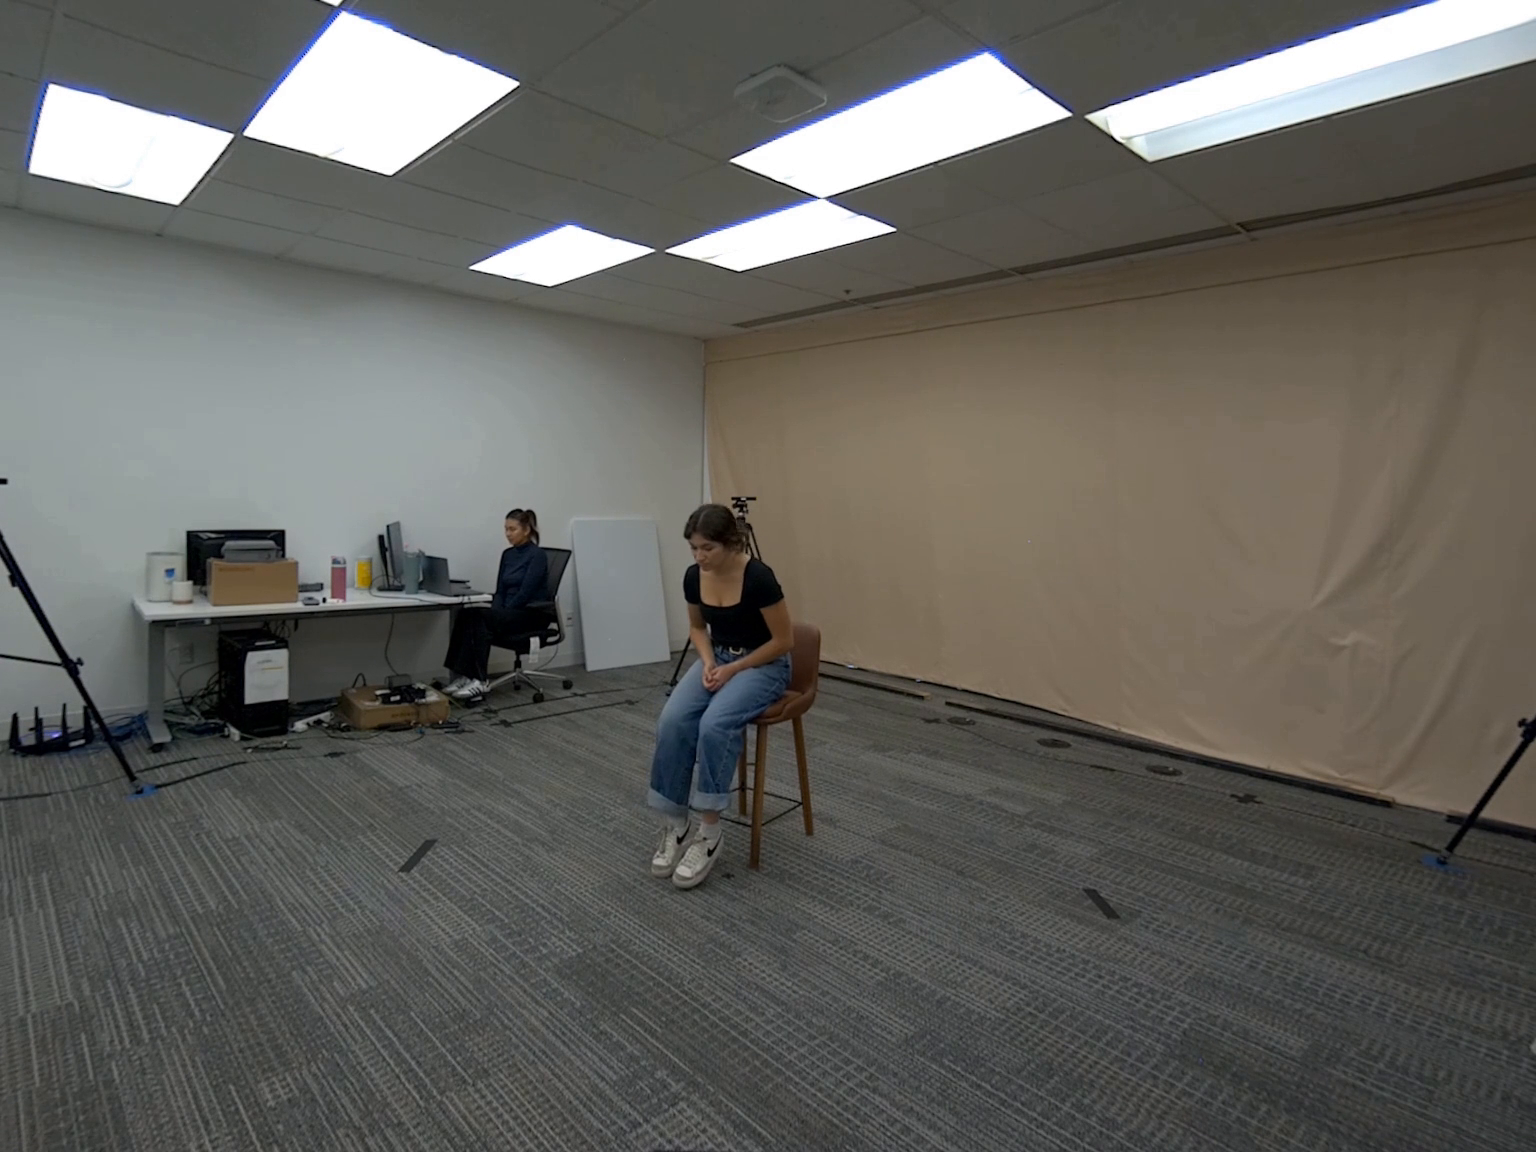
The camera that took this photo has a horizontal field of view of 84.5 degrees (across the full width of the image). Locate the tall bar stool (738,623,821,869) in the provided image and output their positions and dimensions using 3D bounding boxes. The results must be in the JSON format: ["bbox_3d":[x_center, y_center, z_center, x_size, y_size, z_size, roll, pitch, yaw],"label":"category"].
[{"bbox_3d":[-0.077,0.646,3.437,0.467,0.888,0.457,3,2,36],"label":"tall bar stool"}]
